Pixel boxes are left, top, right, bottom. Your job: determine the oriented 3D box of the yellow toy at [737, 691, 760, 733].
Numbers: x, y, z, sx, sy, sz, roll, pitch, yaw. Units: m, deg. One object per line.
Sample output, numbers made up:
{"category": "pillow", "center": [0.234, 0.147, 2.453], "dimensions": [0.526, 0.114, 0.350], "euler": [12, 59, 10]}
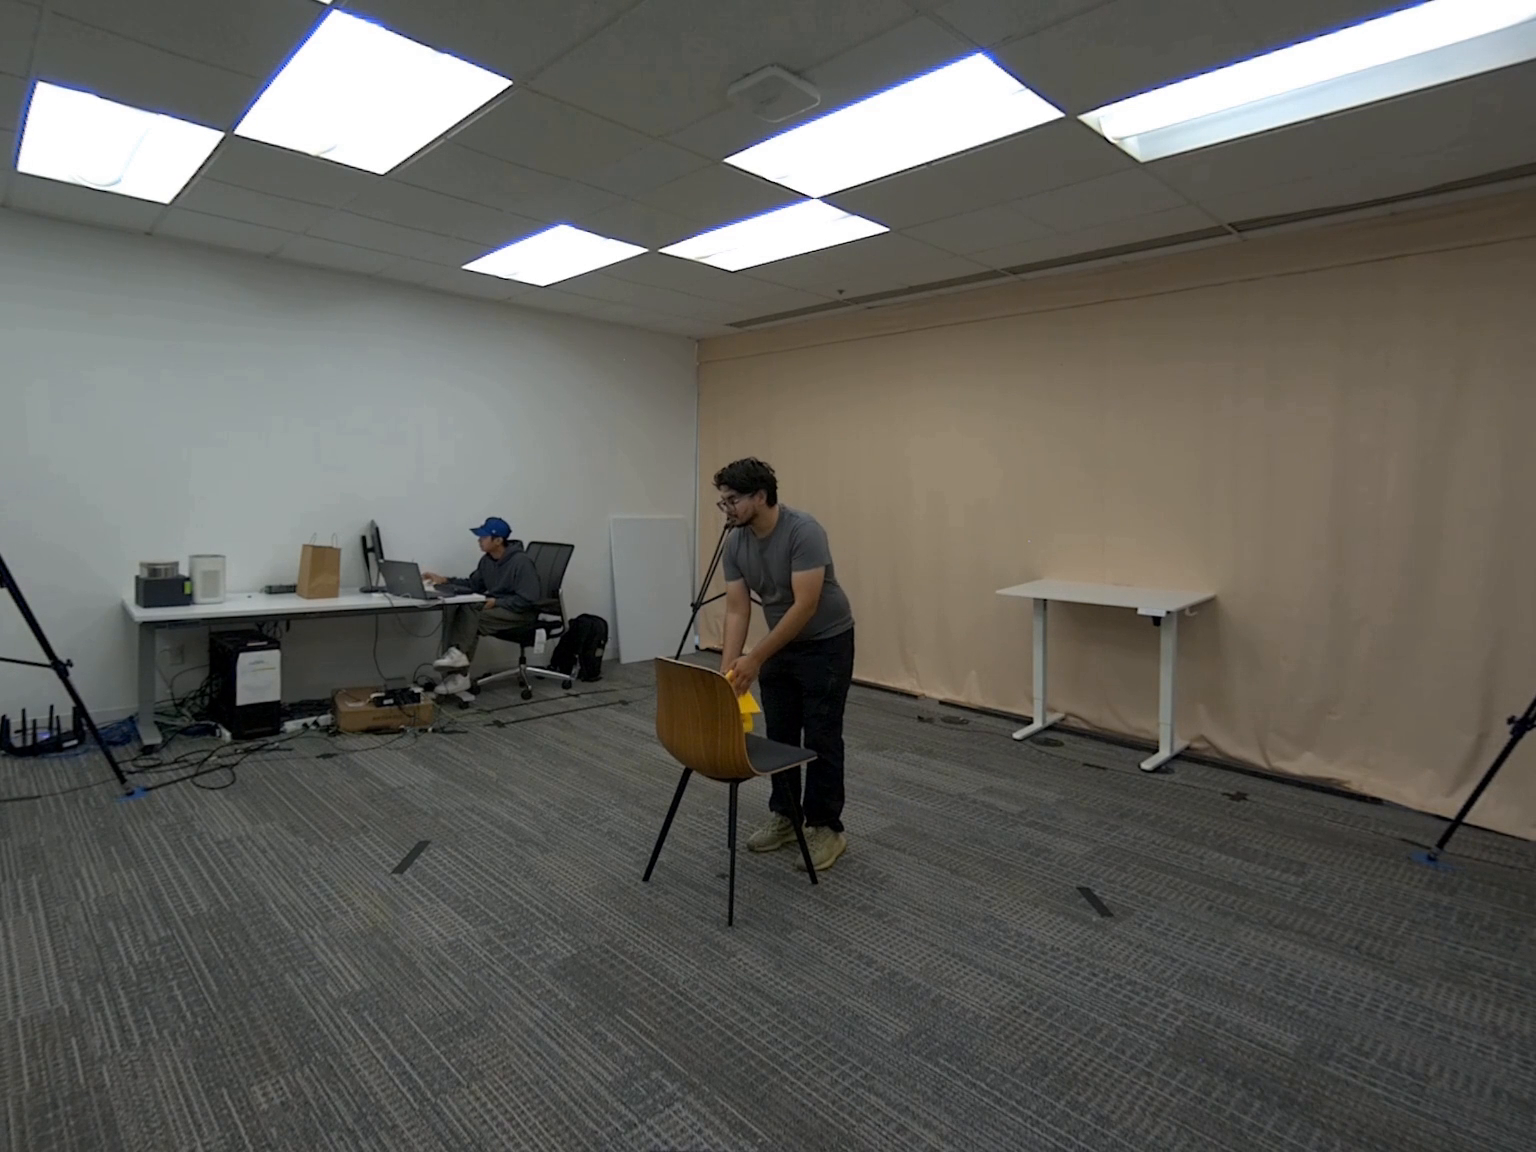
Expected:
{"category": "yellow toy", "center": [-0.156, 0.447, 3.072], "dimensions": [0.202, 0.230, 0.197], "euler": [-3, 6, -21]}
